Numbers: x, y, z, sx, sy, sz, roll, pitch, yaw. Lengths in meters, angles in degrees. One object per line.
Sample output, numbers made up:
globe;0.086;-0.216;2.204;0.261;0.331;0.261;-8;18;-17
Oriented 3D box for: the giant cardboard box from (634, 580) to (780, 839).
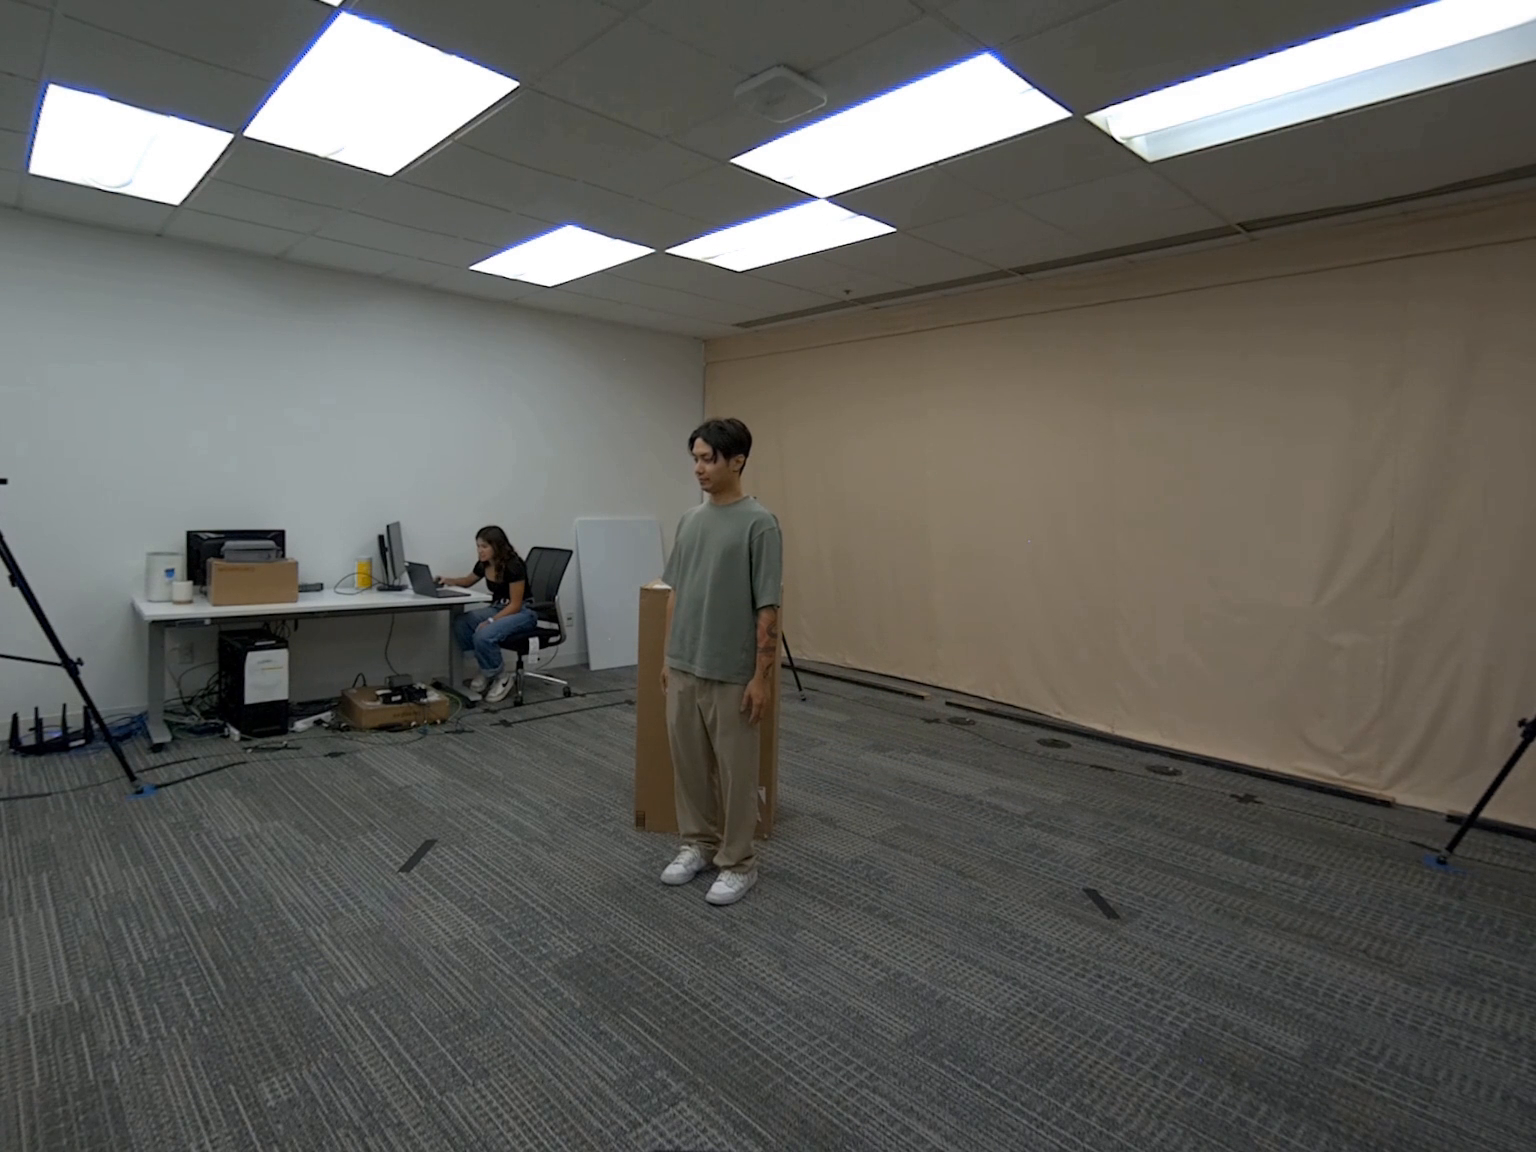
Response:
giant cardboard box;-0.255;0.545;3.660;0.580;1.024;0.425;2;3;5
